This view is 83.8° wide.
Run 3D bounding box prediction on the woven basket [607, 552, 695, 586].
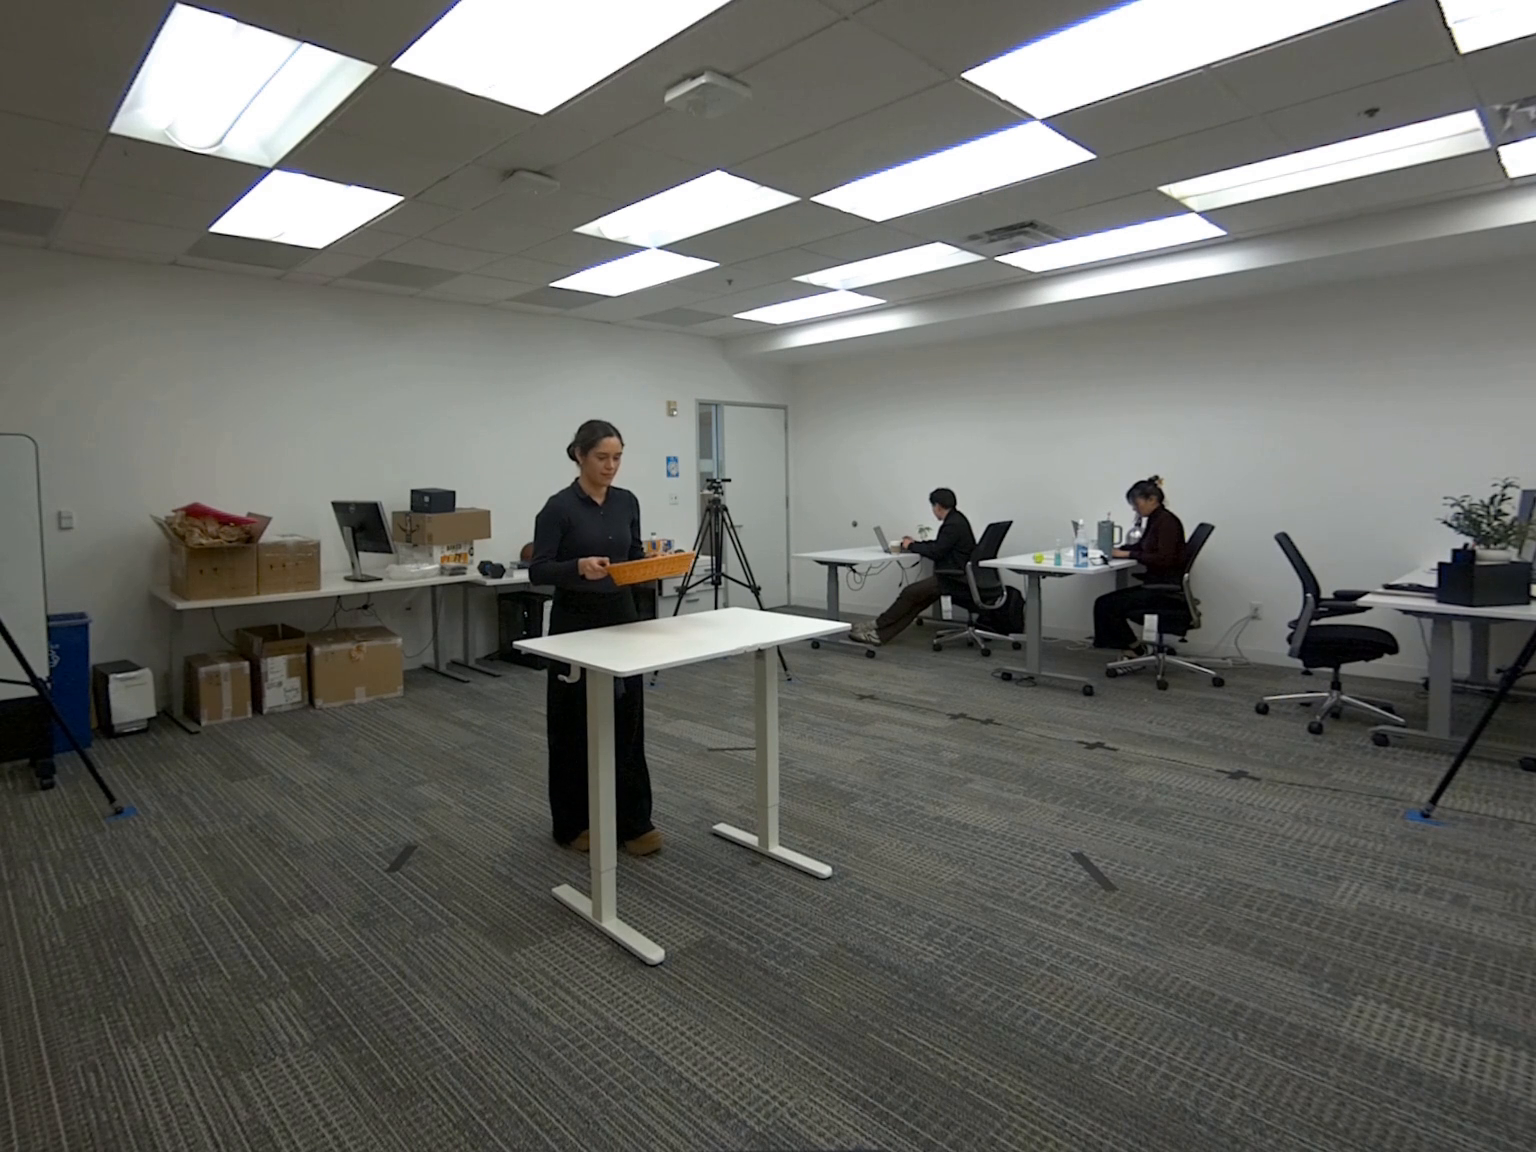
[{"bbox_3d":[-0.427,-0.024,3.007,0.344,0.073,0.257,-10,2,-27],"label":"woven basket"}]
